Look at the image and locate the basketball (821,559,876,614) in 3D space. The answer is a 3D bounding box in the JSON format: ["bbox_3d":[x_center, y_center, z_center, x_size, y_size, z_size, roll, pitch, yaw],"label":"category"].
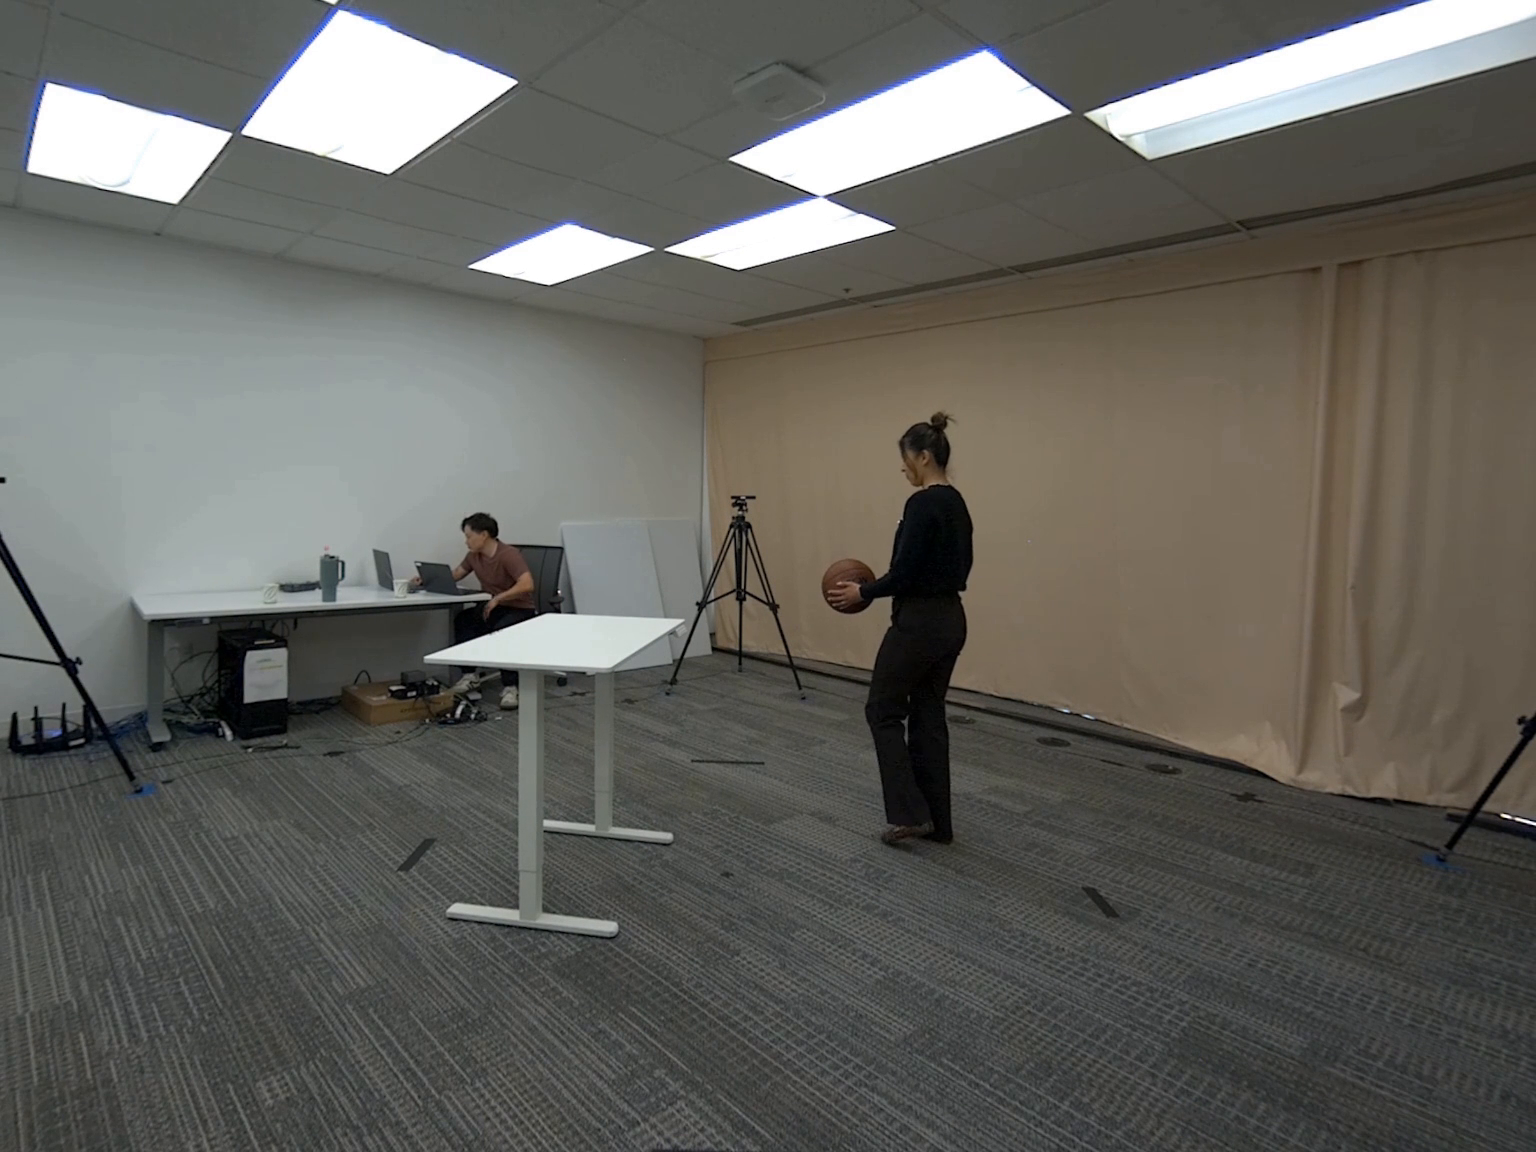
[{"bbox_3d":[0.338,0.044,3.613,0.236,0.235,0.237,1,4,-1],"label":"basketball"}]
